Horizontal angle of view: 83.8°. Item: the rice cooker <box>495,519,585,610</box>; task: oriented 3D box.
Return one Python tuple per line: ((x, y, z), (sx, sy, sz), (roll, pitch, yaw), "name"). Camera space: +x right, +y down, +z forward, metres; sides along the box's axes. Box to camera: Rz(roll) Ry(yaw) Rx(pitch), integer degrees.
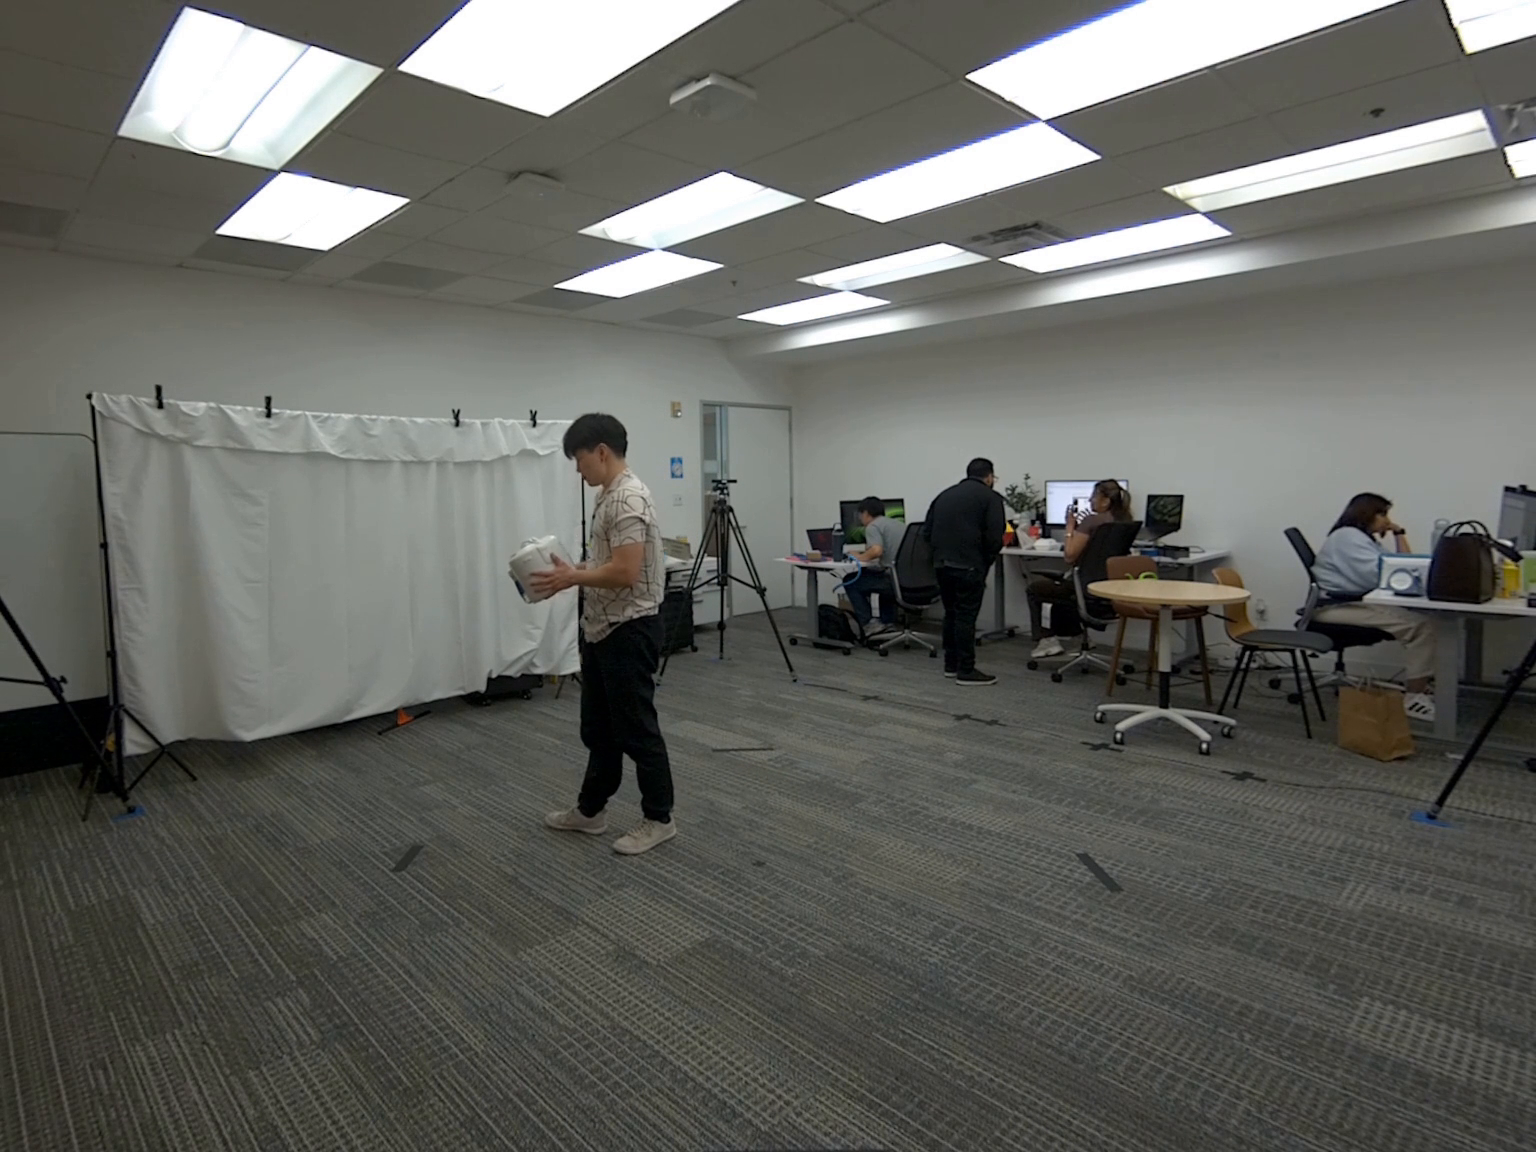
((-0.849, -0.043, 3.233), (0.215, 0.231, 0.224), (-33, 7, -32), "rice cooker")
